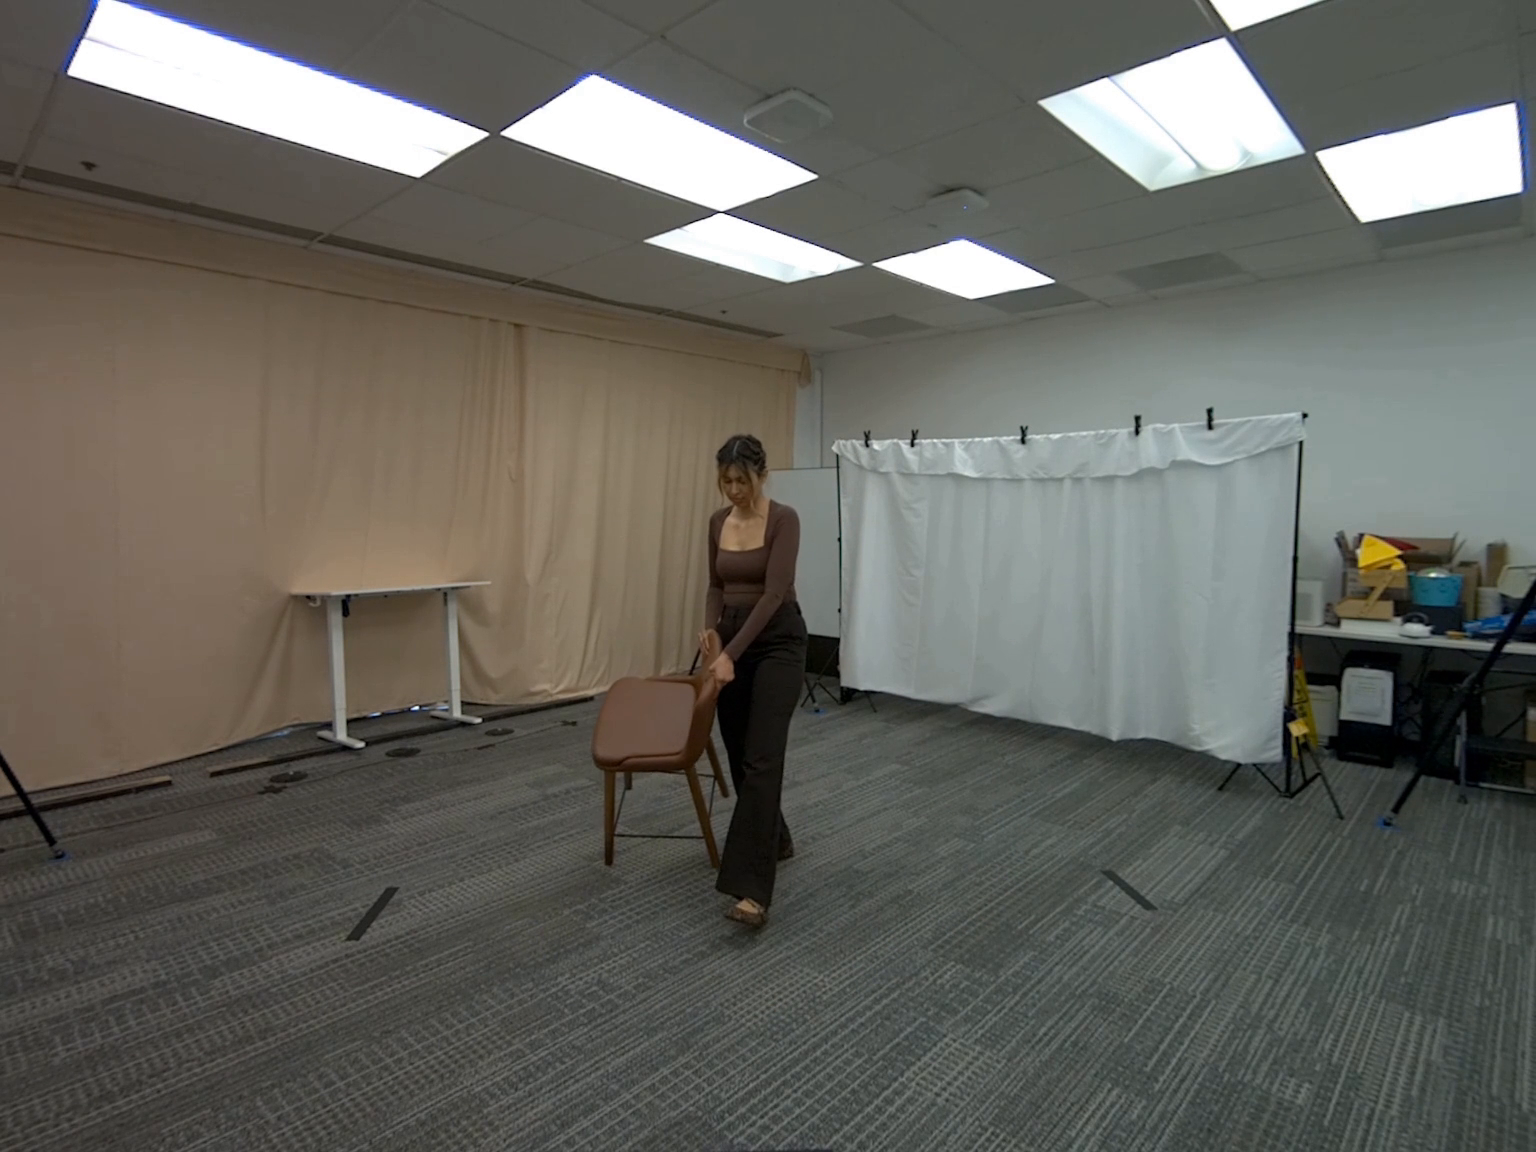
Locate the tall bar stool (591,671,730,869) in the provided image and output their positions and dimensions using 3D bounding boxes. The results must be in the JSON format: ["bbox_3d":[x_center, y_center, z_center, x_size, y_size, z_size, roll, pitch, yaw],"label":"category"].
[{"bbox_3d":[-0.406,0.666,3.188,0.470,0.874,0.462,4,34,4],"label":"tall bar stool"}]
